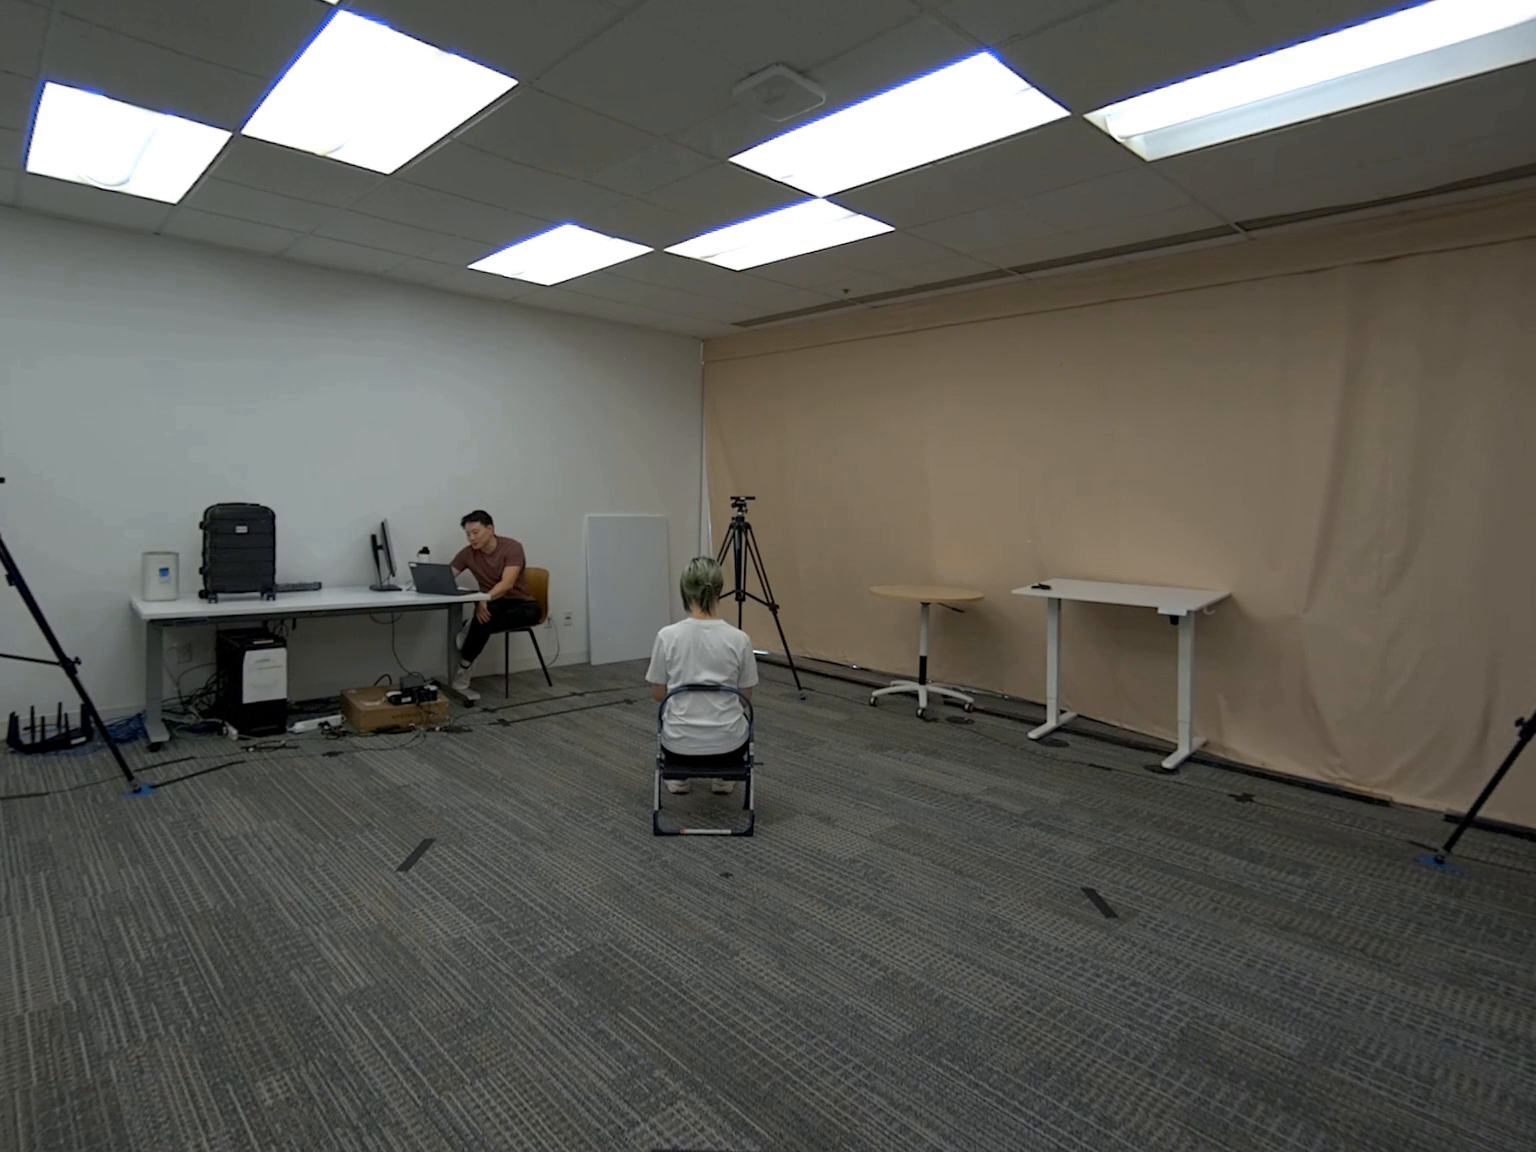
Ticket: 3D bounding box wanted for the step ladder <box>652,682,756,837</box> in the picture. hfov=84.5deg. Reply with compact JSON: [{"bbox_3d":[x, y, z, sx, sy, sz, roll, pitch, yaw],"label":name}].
[{"bbox_3d":[-0.285,0.762,3.613,0.429,0.605,0.351,1,2,-5],"label":"step ladder"}]
